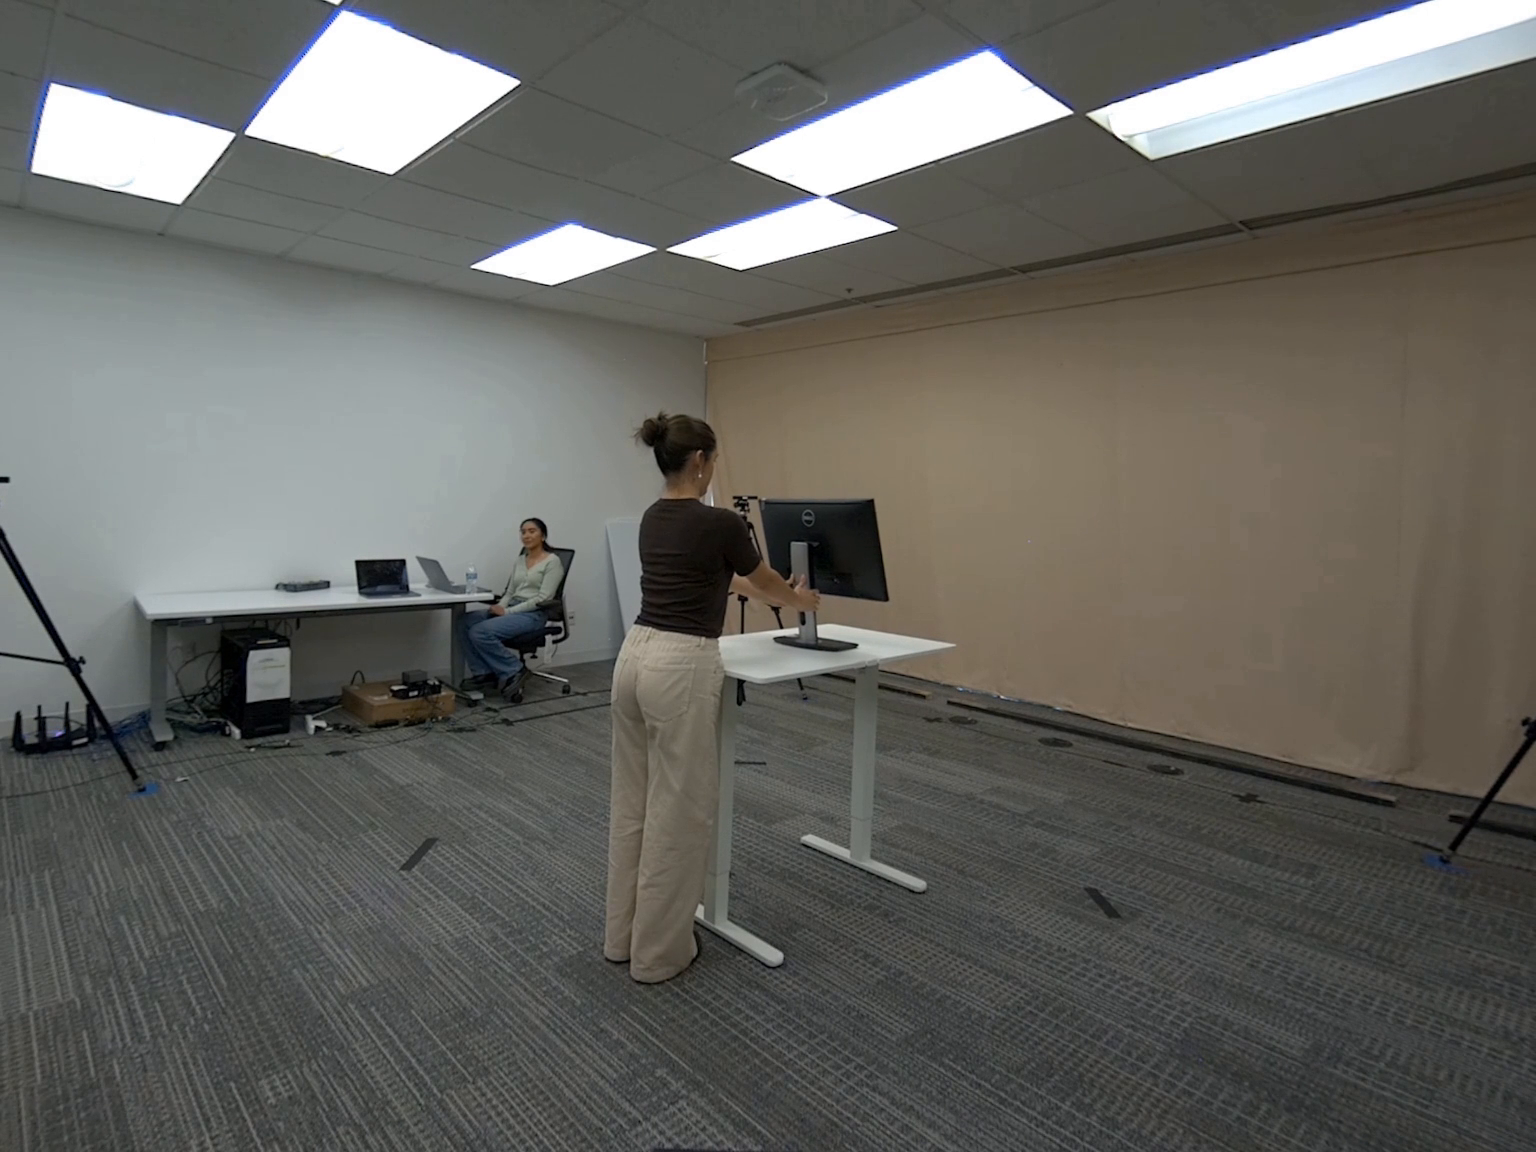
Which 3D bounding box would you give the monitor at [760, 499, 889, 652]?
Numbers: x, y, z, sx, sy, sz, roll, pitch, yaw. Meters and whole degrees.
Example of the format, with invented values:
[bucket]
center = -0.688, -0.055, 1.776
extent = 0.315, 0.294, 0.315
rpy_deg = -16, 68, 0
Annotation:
[monitor]
center = 0.155, -0.007, 2.928
extent = 0.553, 0.521, 0.183
rpy_deg = 4, 6, 45
